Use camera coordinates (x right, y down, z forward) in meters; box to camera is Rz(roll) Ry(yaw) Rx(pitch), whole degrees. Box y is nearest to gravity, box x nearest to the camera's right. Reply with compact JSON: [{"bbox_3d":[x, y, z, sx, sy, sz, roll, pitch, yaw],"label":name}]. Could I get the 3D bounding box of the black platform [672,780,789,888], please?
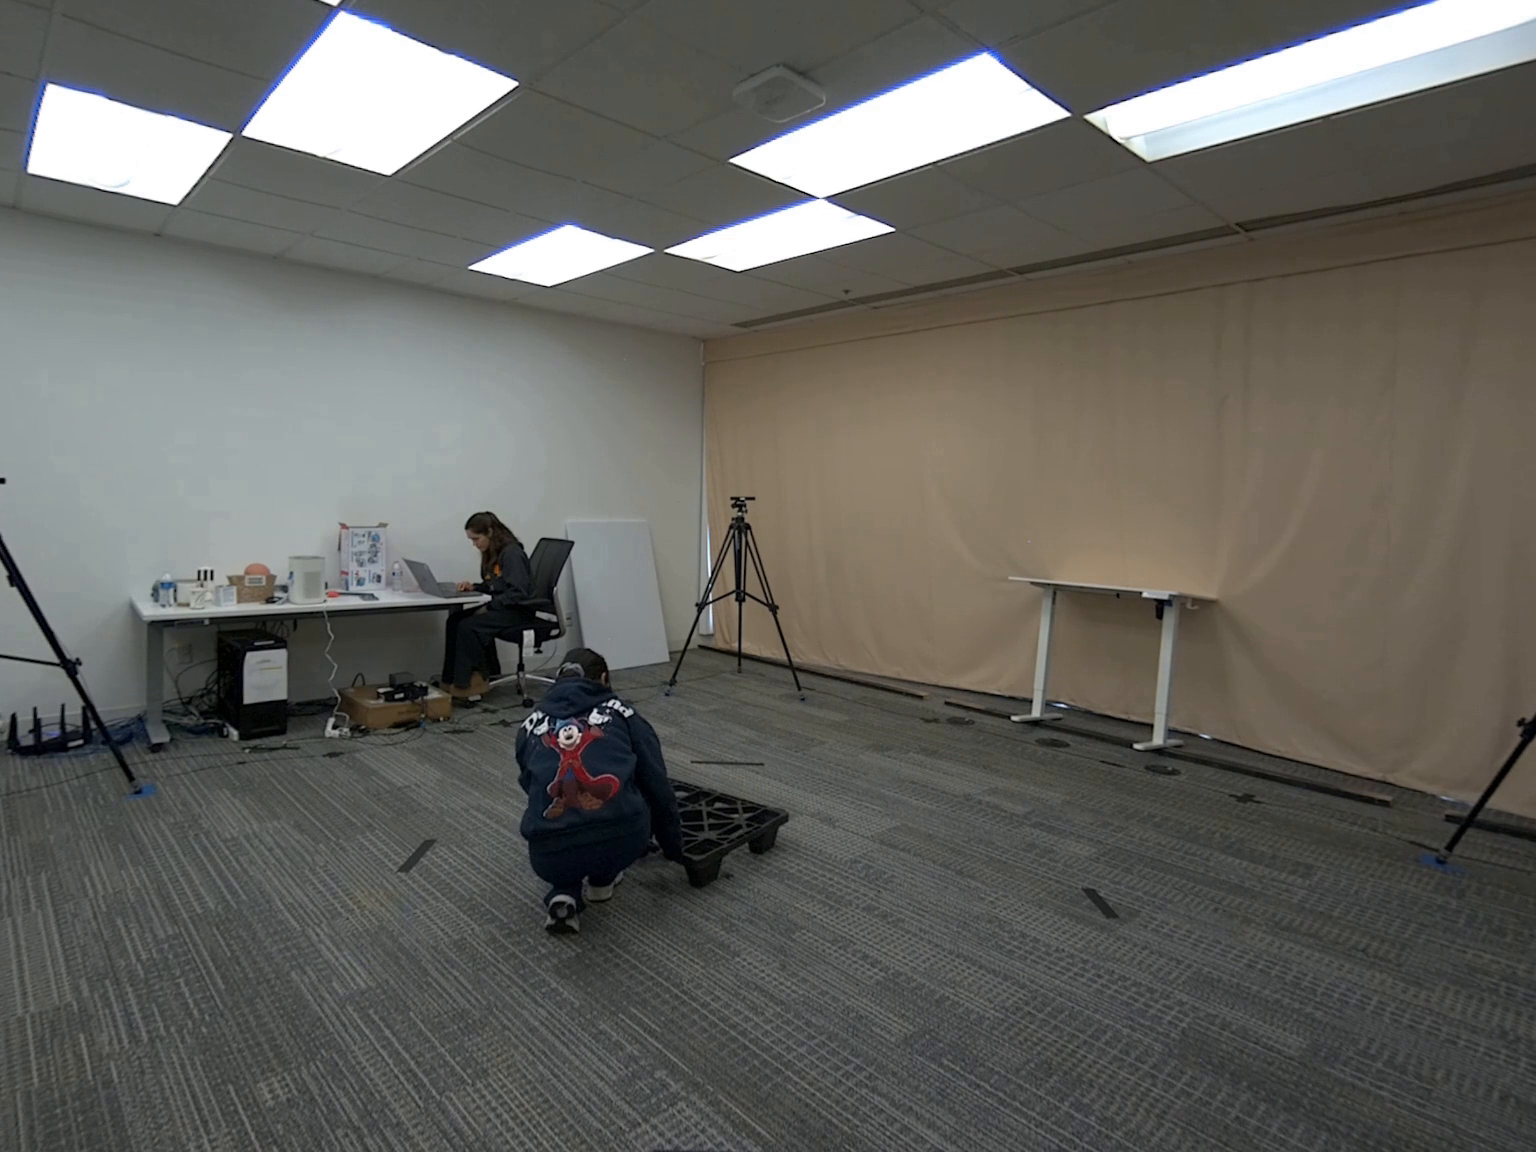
[{"bbox_3d":[-0.406,1.007,3.395,0.825,0.143,0.592,5,6,35],"label":"black platform"}]
